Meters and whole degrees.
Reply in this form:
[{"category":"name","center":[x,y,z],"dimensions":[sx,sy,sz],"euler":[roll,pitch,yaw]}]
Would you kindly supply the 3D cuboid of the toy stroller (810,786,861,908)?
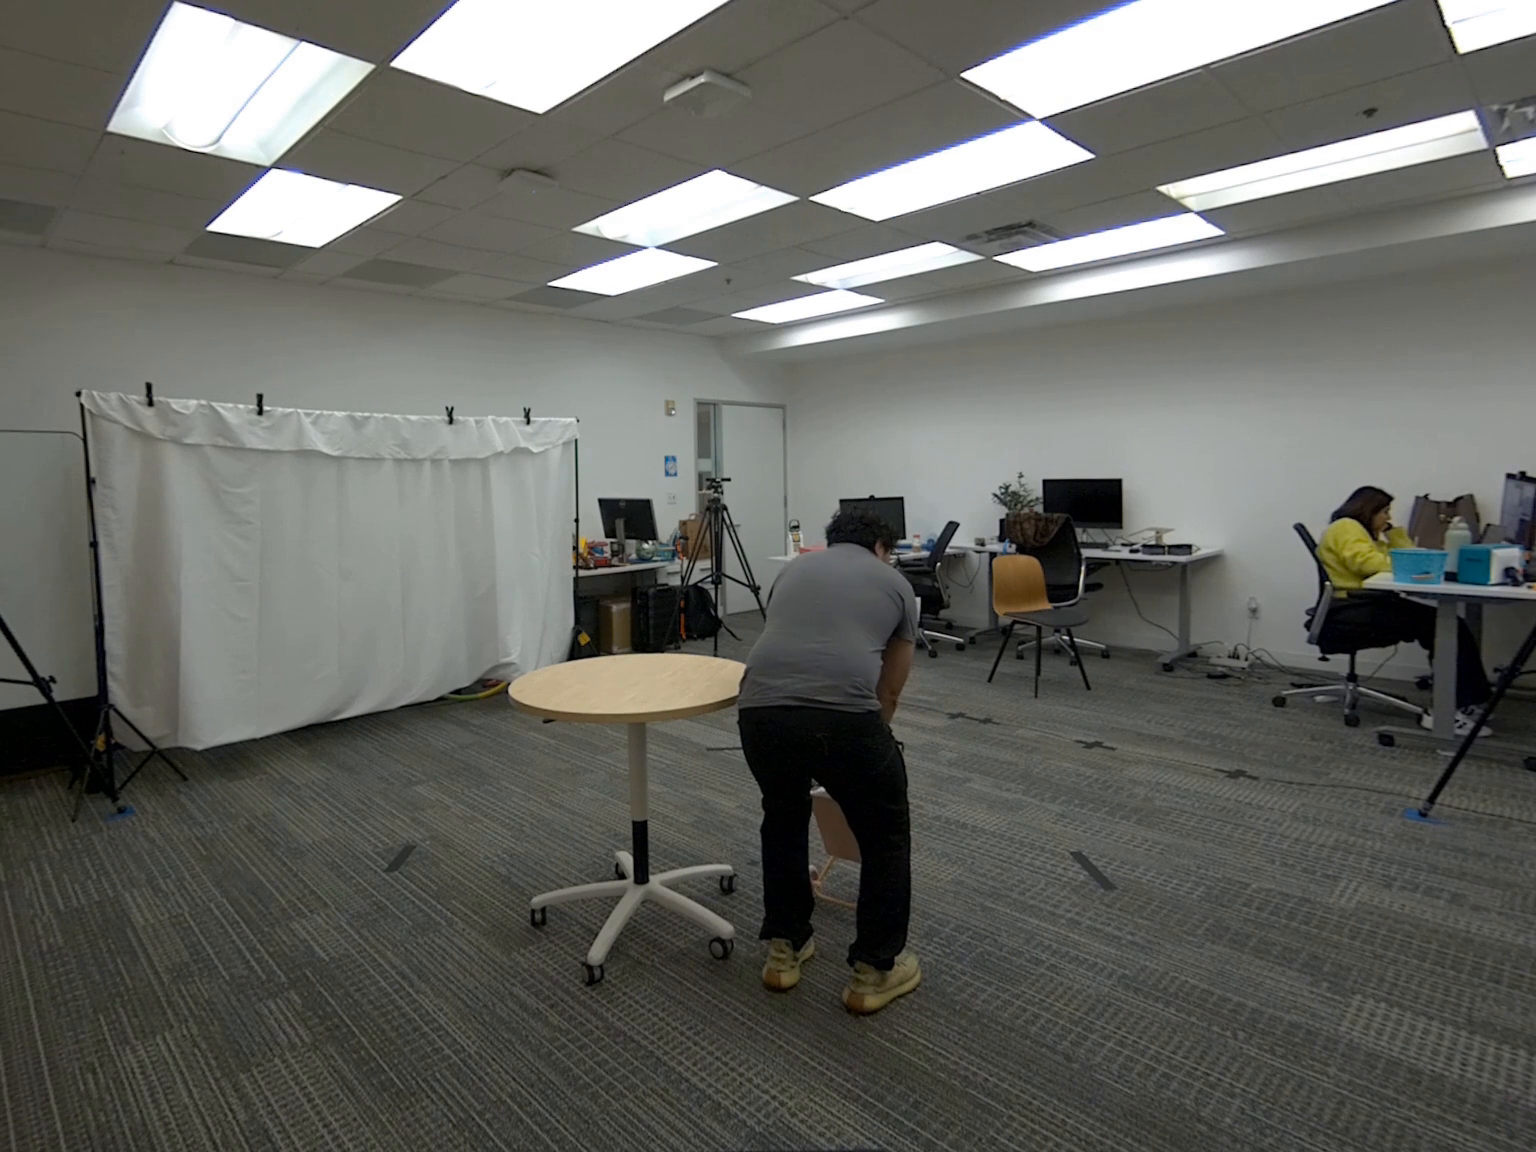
[{"category":"toy stroller","center":[0.287,0.840,2.801],"dimensions":[0.290,0.528,0.336],"euler":[1,16,40]}]
